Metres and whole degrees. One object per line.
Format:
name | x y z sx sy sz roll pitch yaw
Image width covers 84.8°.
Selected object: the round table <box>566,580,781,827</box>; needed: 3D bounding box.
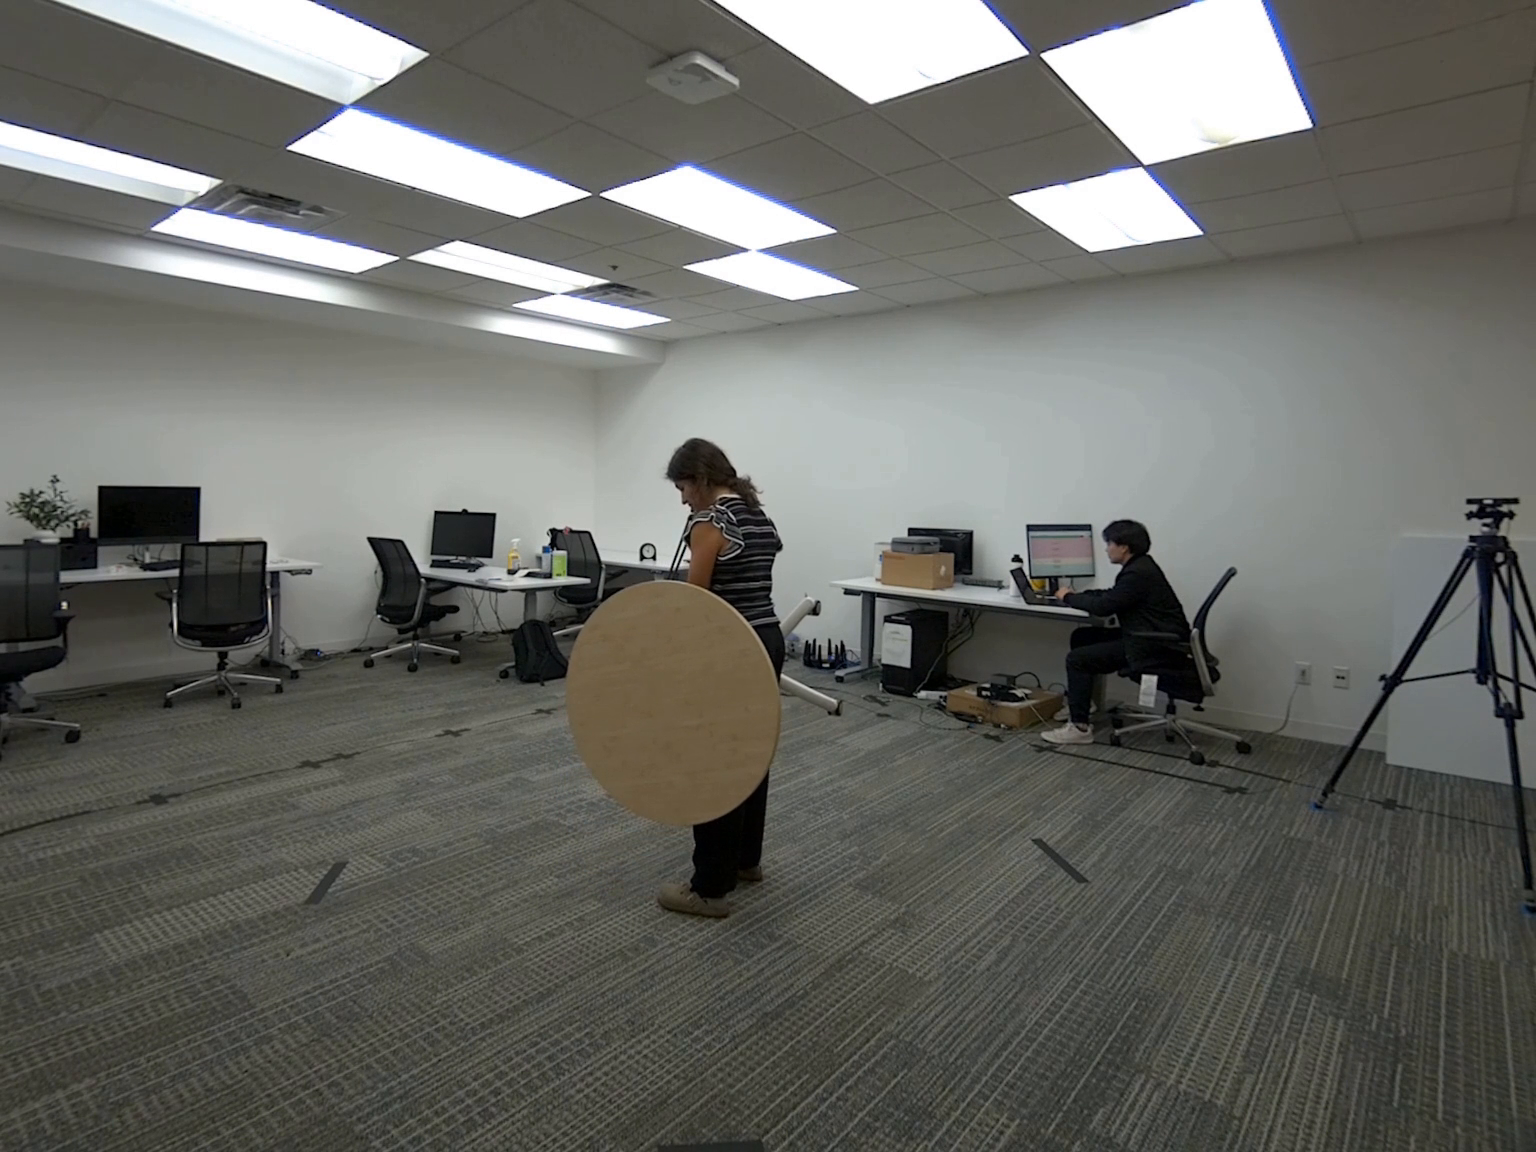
round table | -0.180 0.379 3.034 0.784 0.762 0.775 3 4 26
